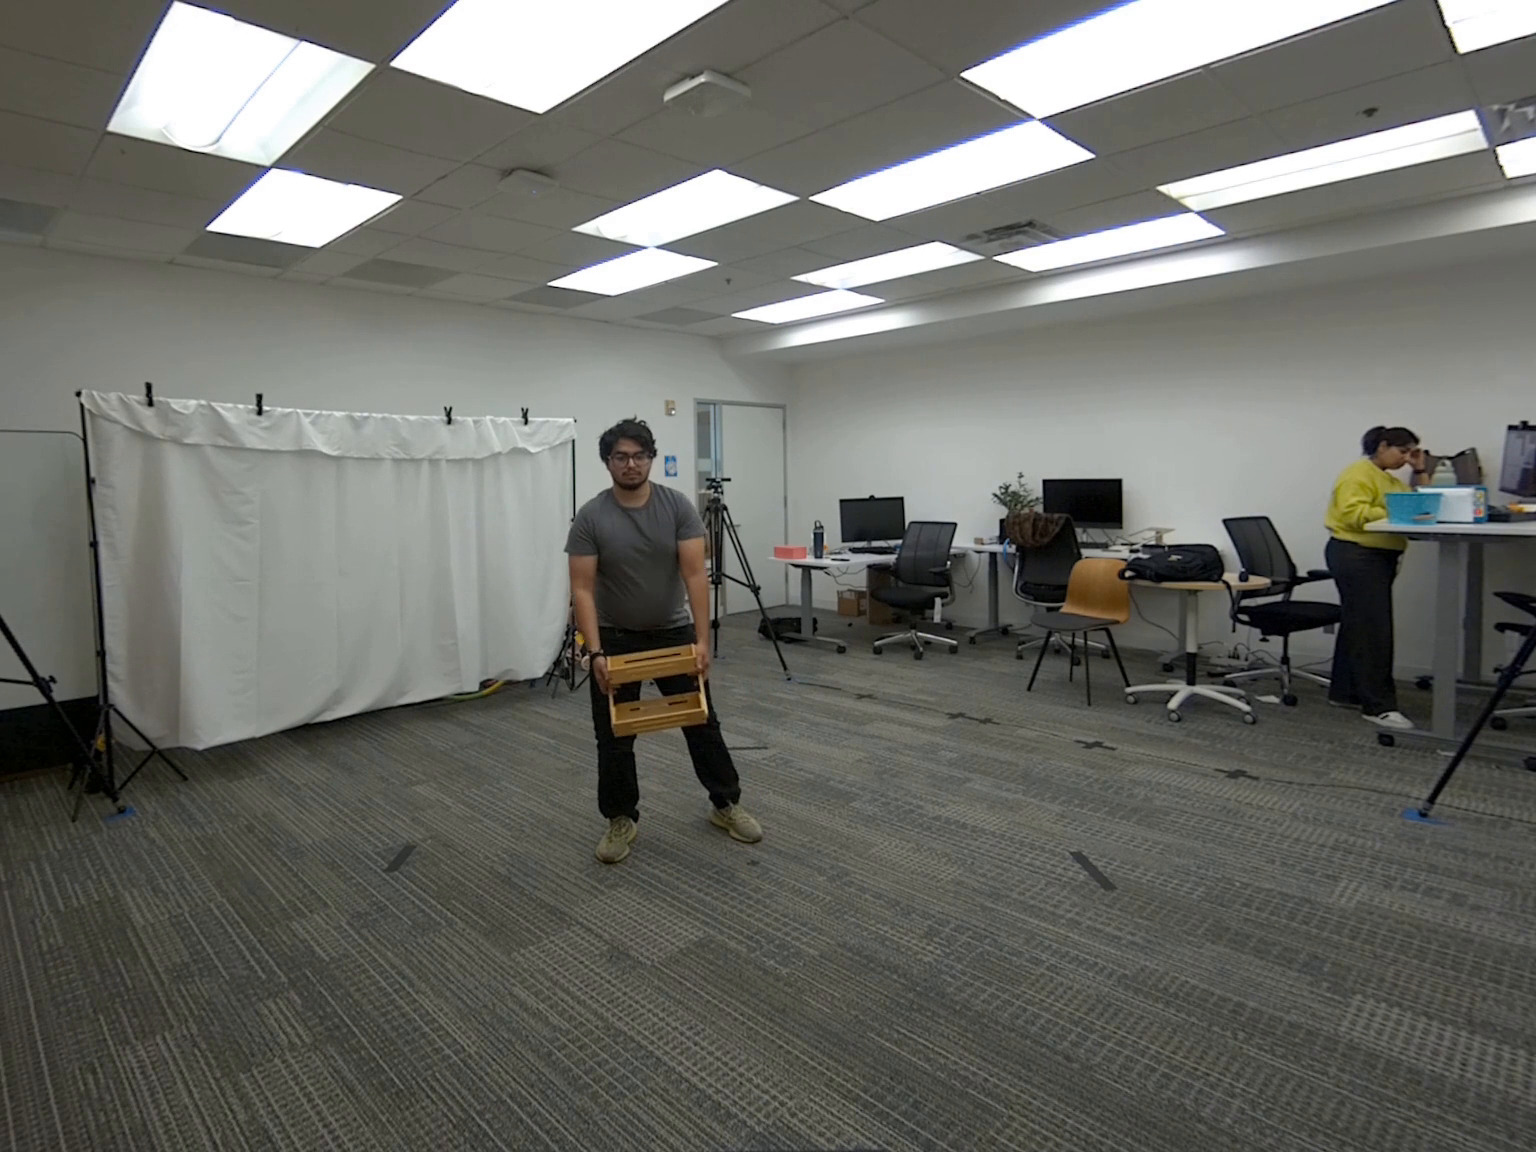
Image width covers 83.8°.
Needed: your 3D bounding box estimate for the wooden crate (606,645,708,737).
[{"bbox_3d":[-0.390,0.385,2.934,0.323,0.275,0.301,-9,-6,-6],"label":"wooden crate"}]
